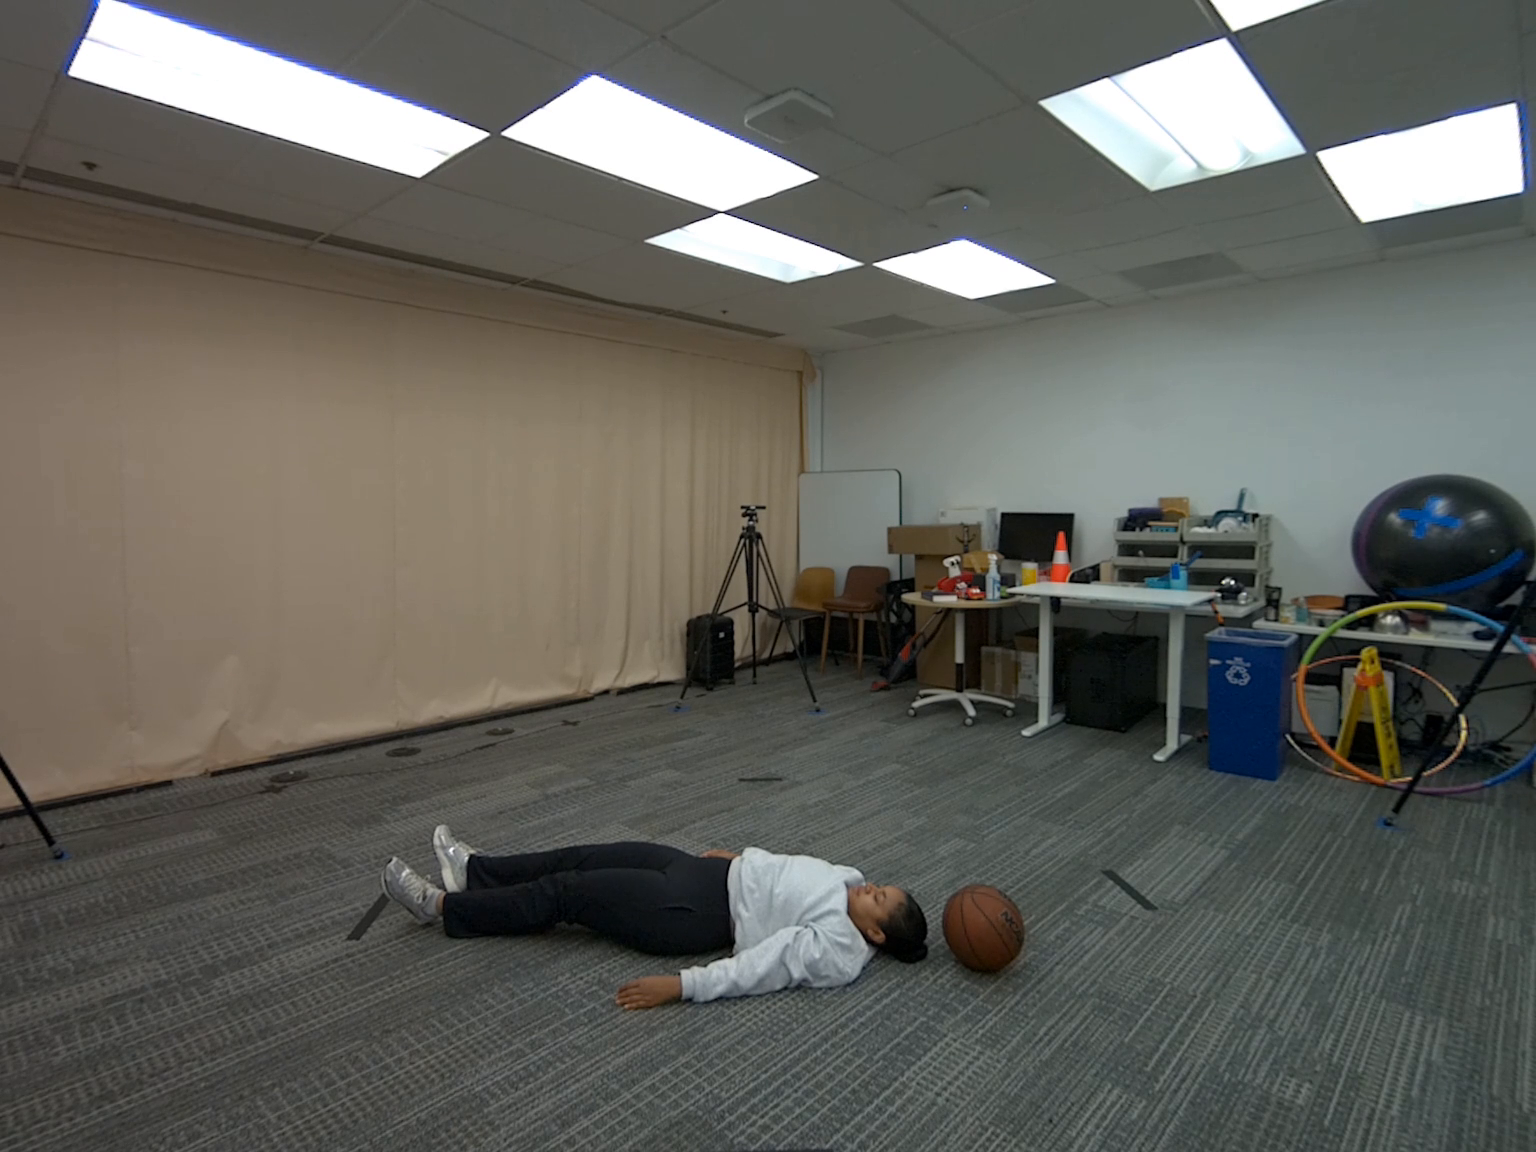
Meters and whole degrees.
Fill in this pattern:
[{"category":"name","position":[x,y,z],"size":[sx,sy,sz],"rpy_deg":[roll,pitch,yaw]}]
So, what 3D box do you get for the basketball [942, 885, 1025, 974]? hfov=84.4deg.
[{"category":"basketball","position":[0.658,1.059,2.542],"size":[0.236,0.236,0.236],"rpy_deg":[2,0,-2]}]
